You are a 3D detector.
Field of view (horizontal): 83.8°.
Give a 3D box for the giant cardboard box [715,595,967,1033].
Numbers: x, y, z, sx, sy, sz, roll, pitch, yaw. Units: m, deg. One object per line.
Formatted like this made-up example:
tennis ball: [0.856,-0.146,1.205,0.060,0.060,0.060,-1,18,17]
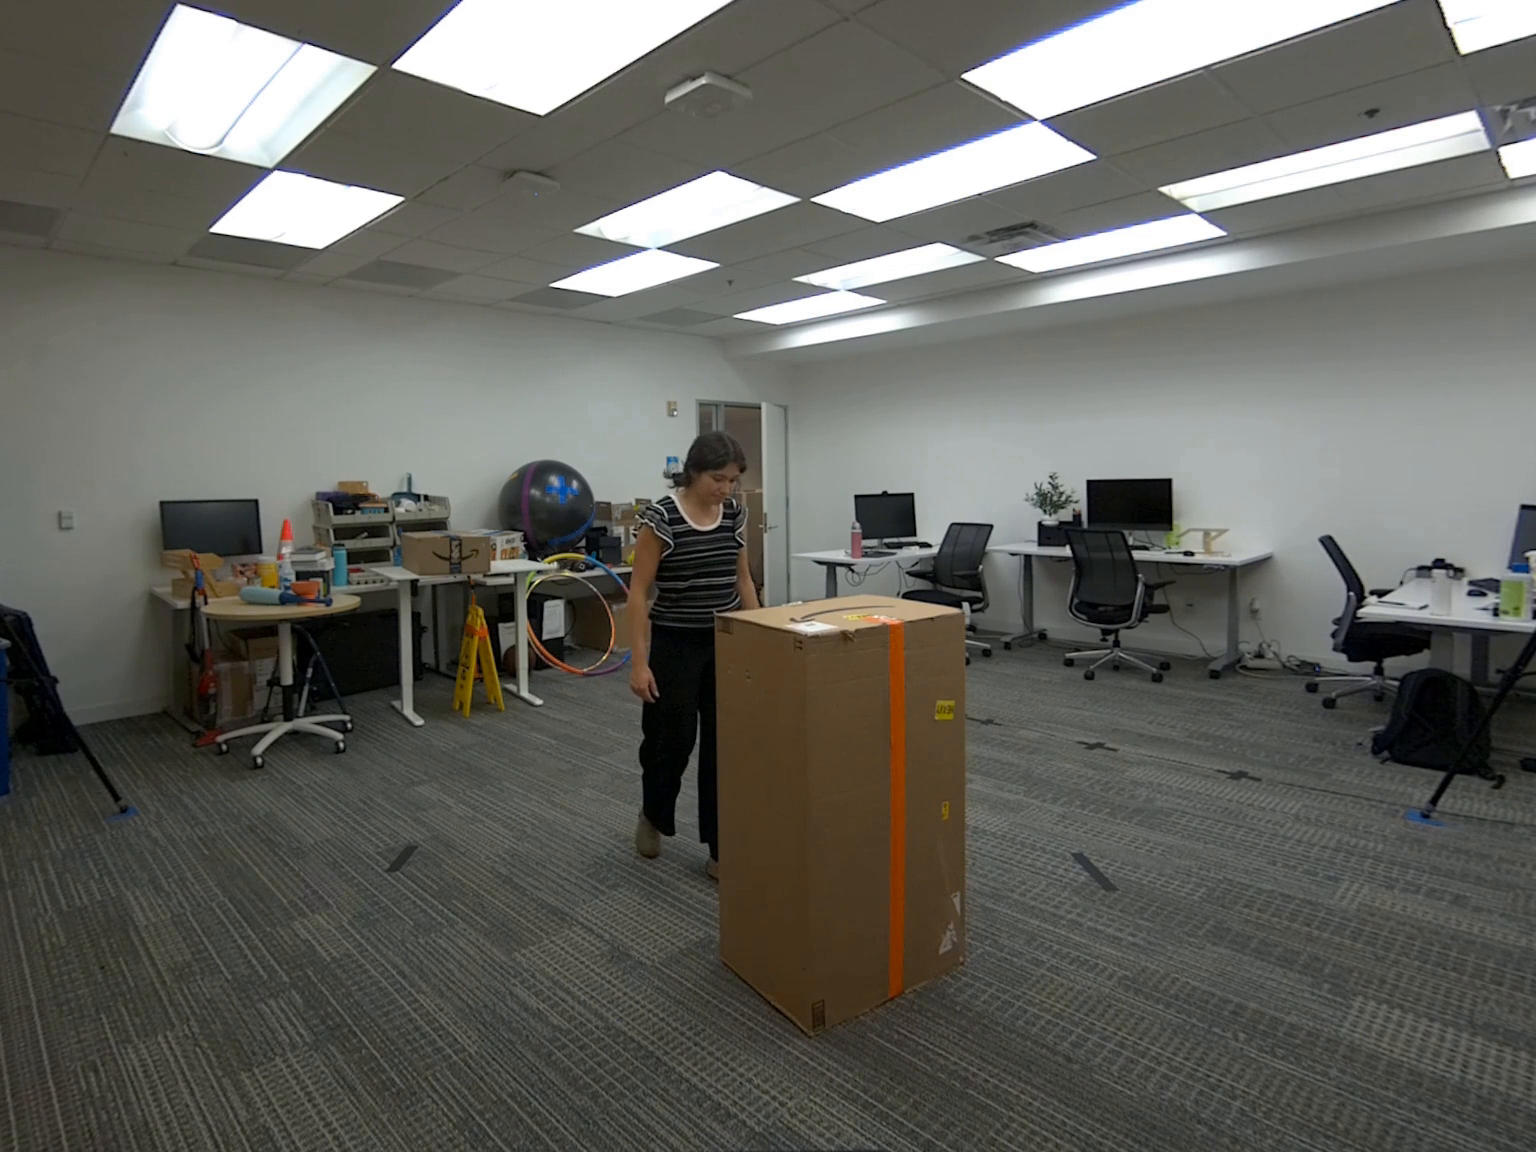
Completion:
giant cardboard box: [0.212,0.611,2.431,0.563,1.022,0.439,-4,5,-36]
